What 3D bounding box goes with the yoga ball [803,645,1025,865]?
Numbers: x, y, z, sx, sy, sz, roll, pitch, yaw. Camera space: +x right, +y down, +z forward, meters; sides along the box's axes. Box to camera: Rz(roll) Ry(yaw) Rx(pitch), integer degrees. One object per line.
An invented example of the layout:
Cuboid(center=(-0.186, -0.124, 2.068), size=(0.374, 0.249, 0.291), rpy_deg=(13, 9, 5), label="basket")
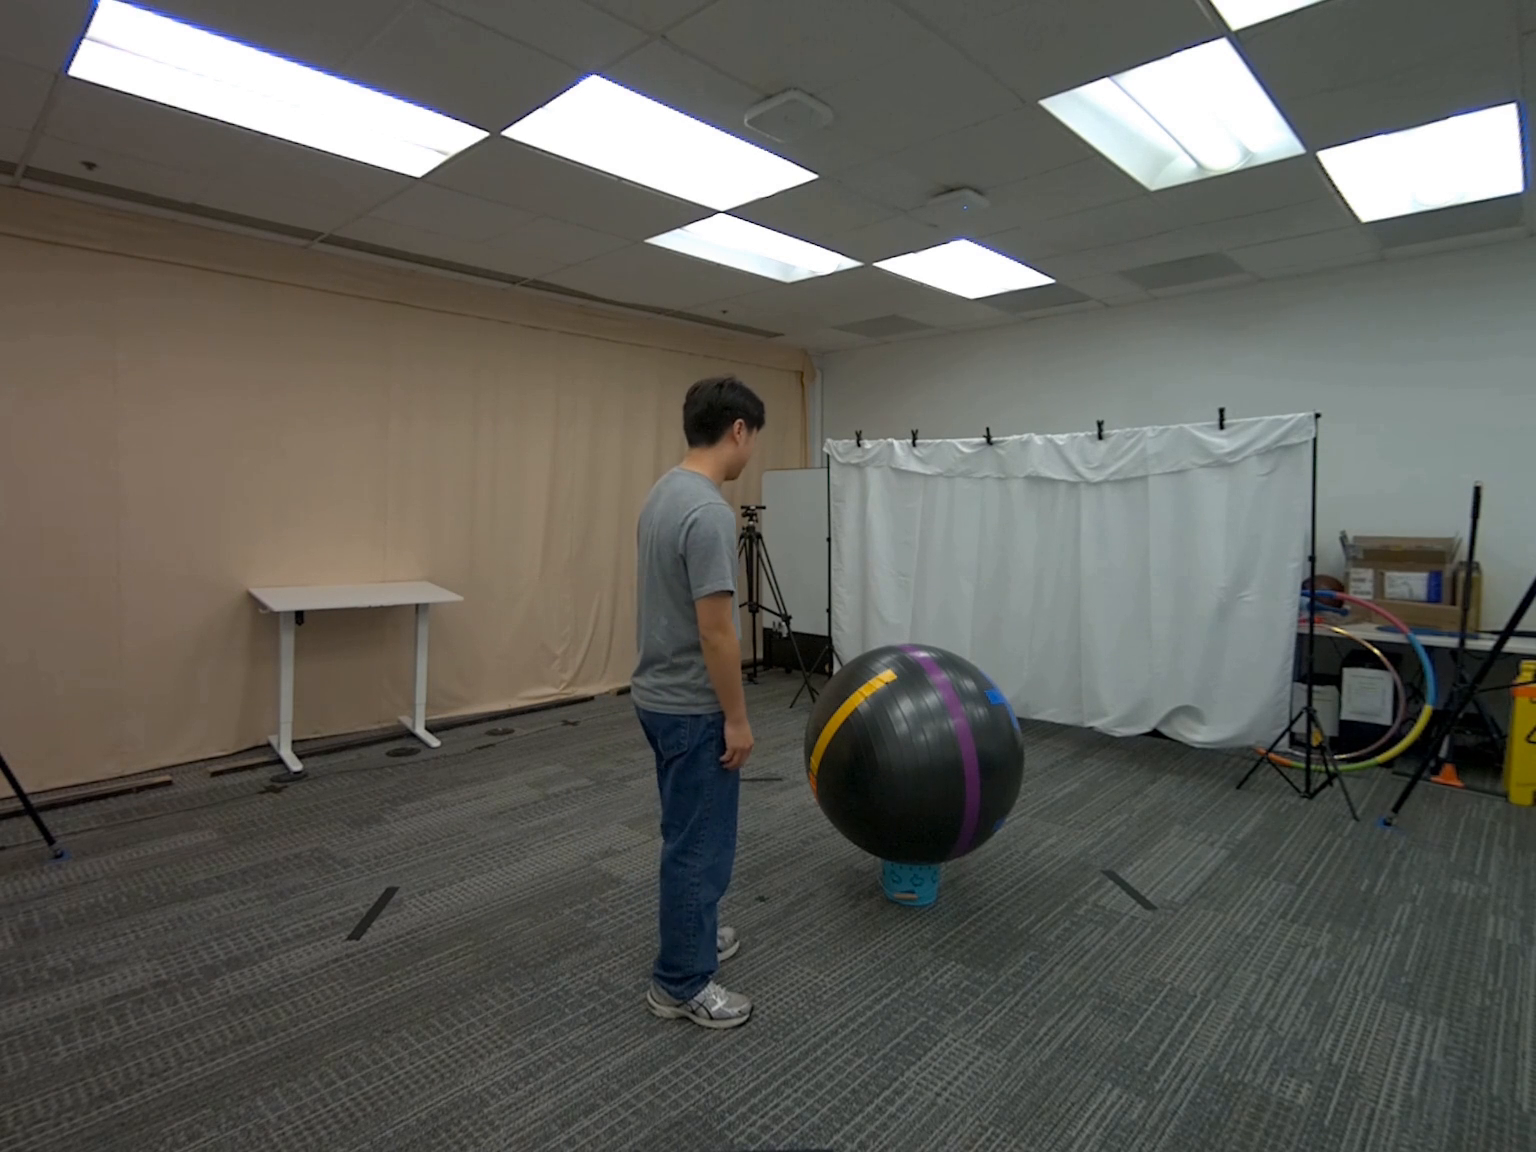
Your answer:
Cuboid(center=(0.510, 0.627, 2.998), size=(0.757, 0.756, 0.761), rpy_deg=(0, 4, -2), label="yoga ball")
